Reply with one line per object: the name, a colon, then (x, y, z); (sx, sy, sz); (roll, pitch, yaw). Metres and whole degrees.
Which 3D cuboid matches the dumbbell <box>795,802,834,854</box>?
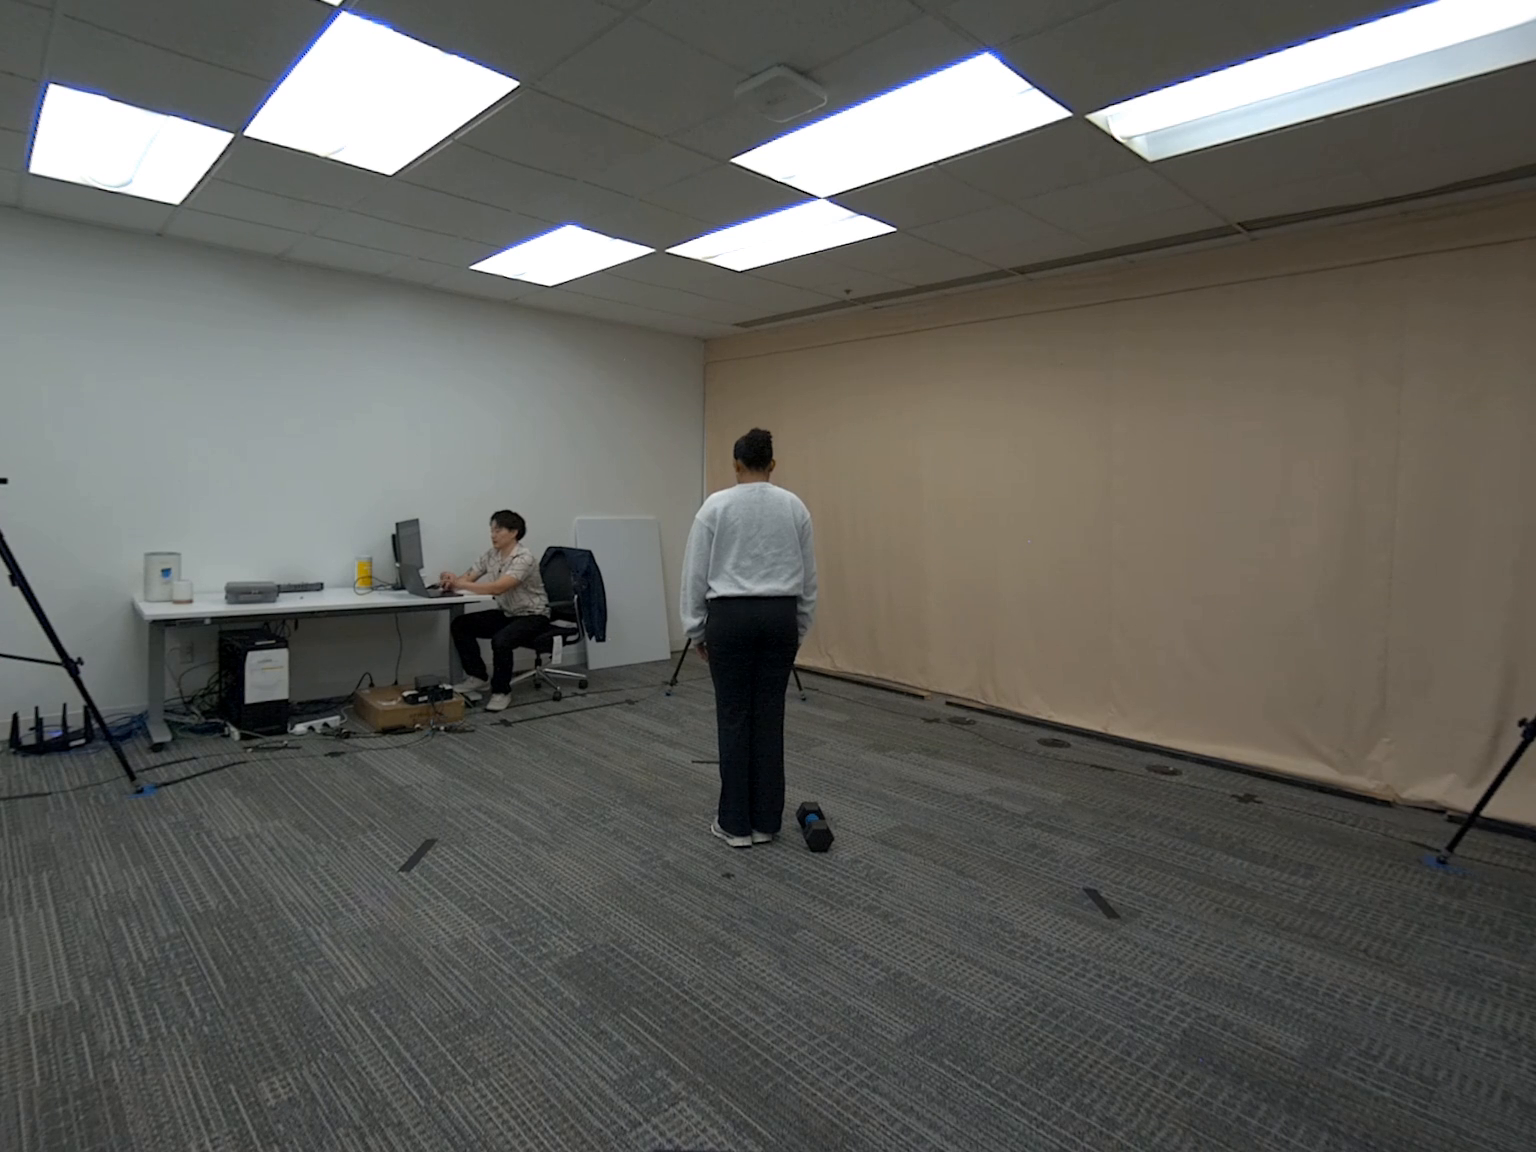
dumbbell: (0.177, 1.027, 3.465); (0.108, 0.122, 0.295); (-30, 7, -3)
